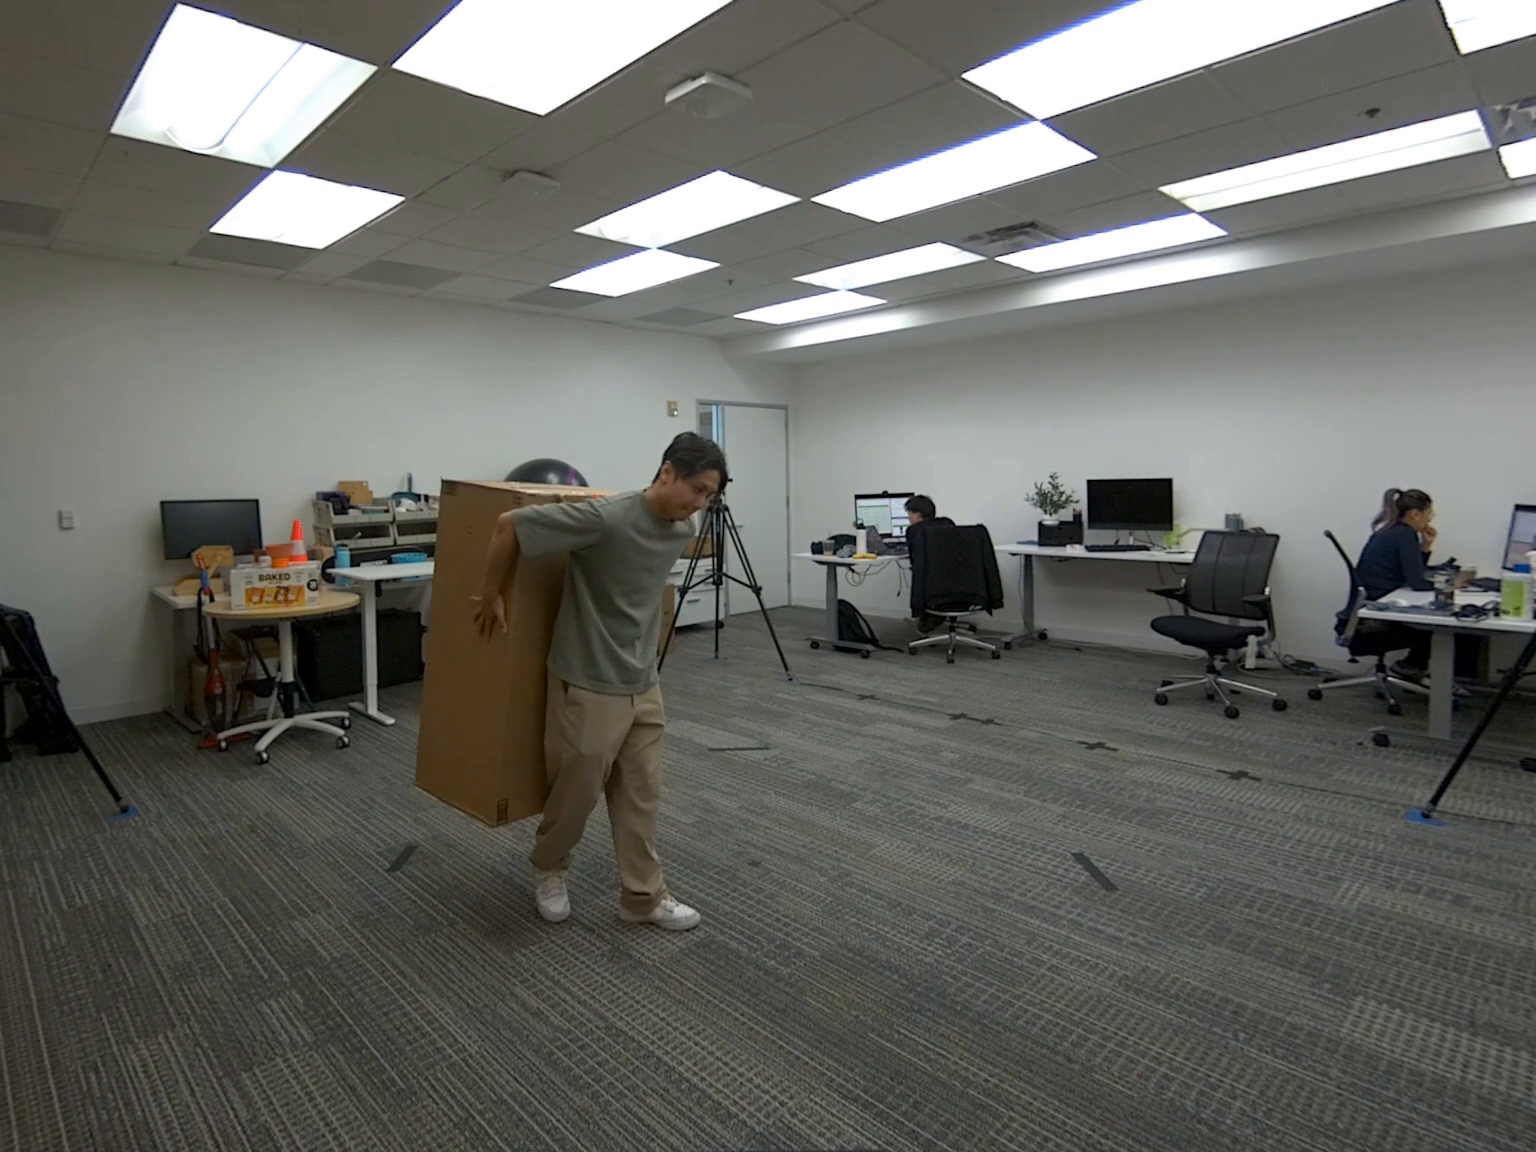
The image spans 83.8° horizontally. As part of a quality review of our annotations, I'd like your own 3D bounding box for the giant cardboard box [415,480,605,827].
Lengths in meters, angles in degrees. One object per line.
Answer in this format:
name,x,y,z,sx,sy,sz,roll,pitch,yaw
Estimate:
giant cardboard box,-0.787,0.214,2.889,0.439,1.022,0.562,9,5,35
